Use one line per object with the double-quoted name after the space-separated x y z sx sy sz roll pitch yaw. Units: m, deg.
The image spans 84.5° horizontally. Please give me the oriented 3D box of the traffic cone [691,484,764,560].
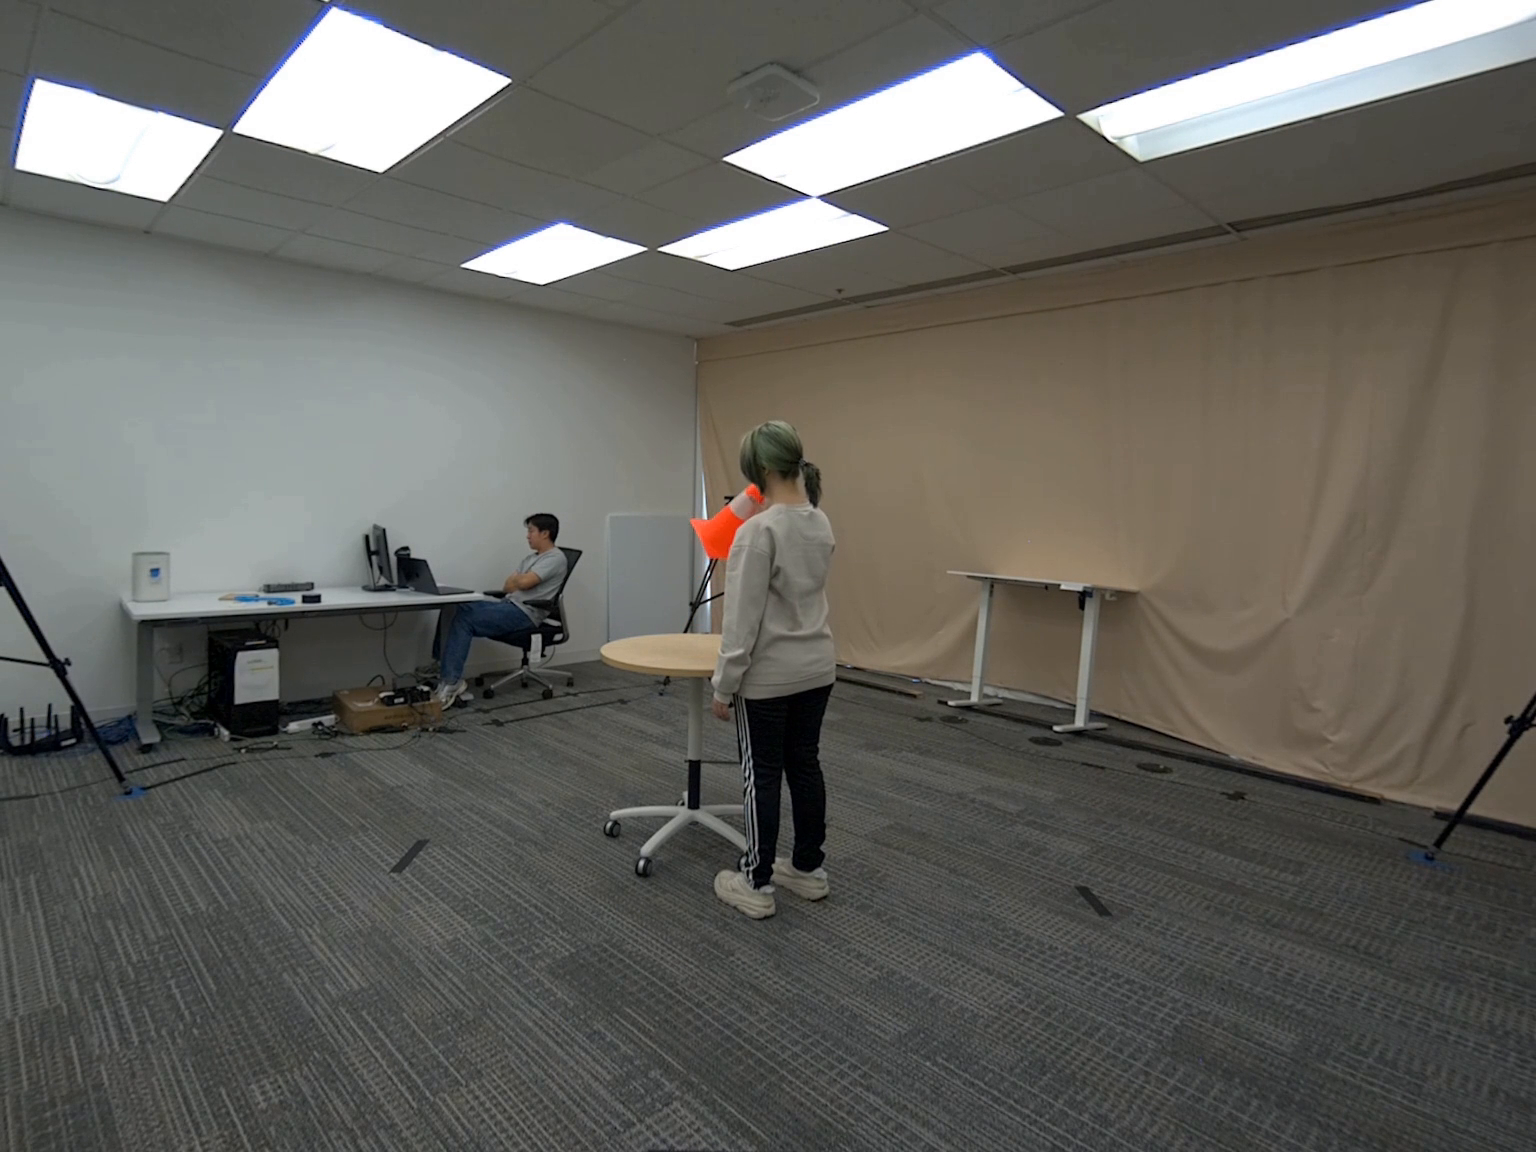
-0.096 -0.262 3.213 0.200 0.208 0.383 0 -39 -43 "traffic cone"
